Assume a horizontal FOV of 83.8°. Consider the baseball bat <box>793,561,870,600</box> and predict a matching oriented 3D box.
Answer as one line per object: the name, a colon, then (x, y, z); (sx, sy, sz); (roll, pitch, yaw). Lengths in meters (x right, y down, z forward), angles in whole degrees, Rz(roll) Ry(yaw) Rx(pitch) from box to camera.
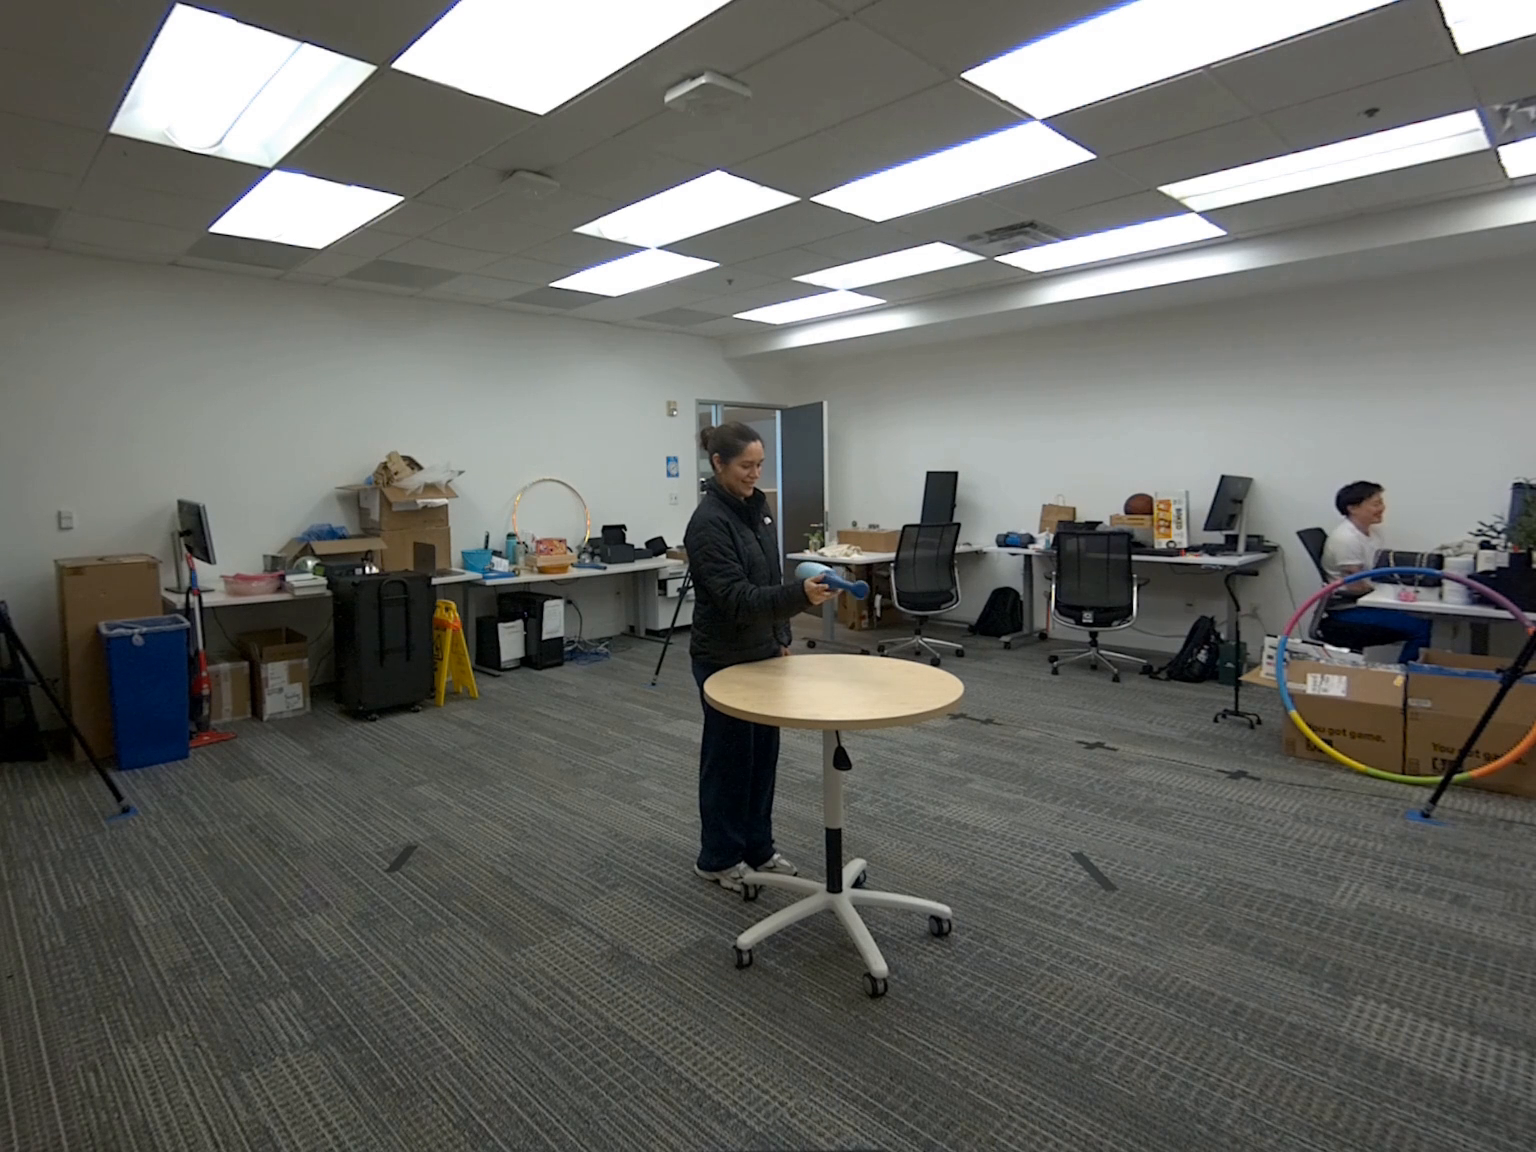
baseball bat: (0.190, 0.018, 2.553); (0.088, 0.089, 0.550); (-2, 5, -12)
